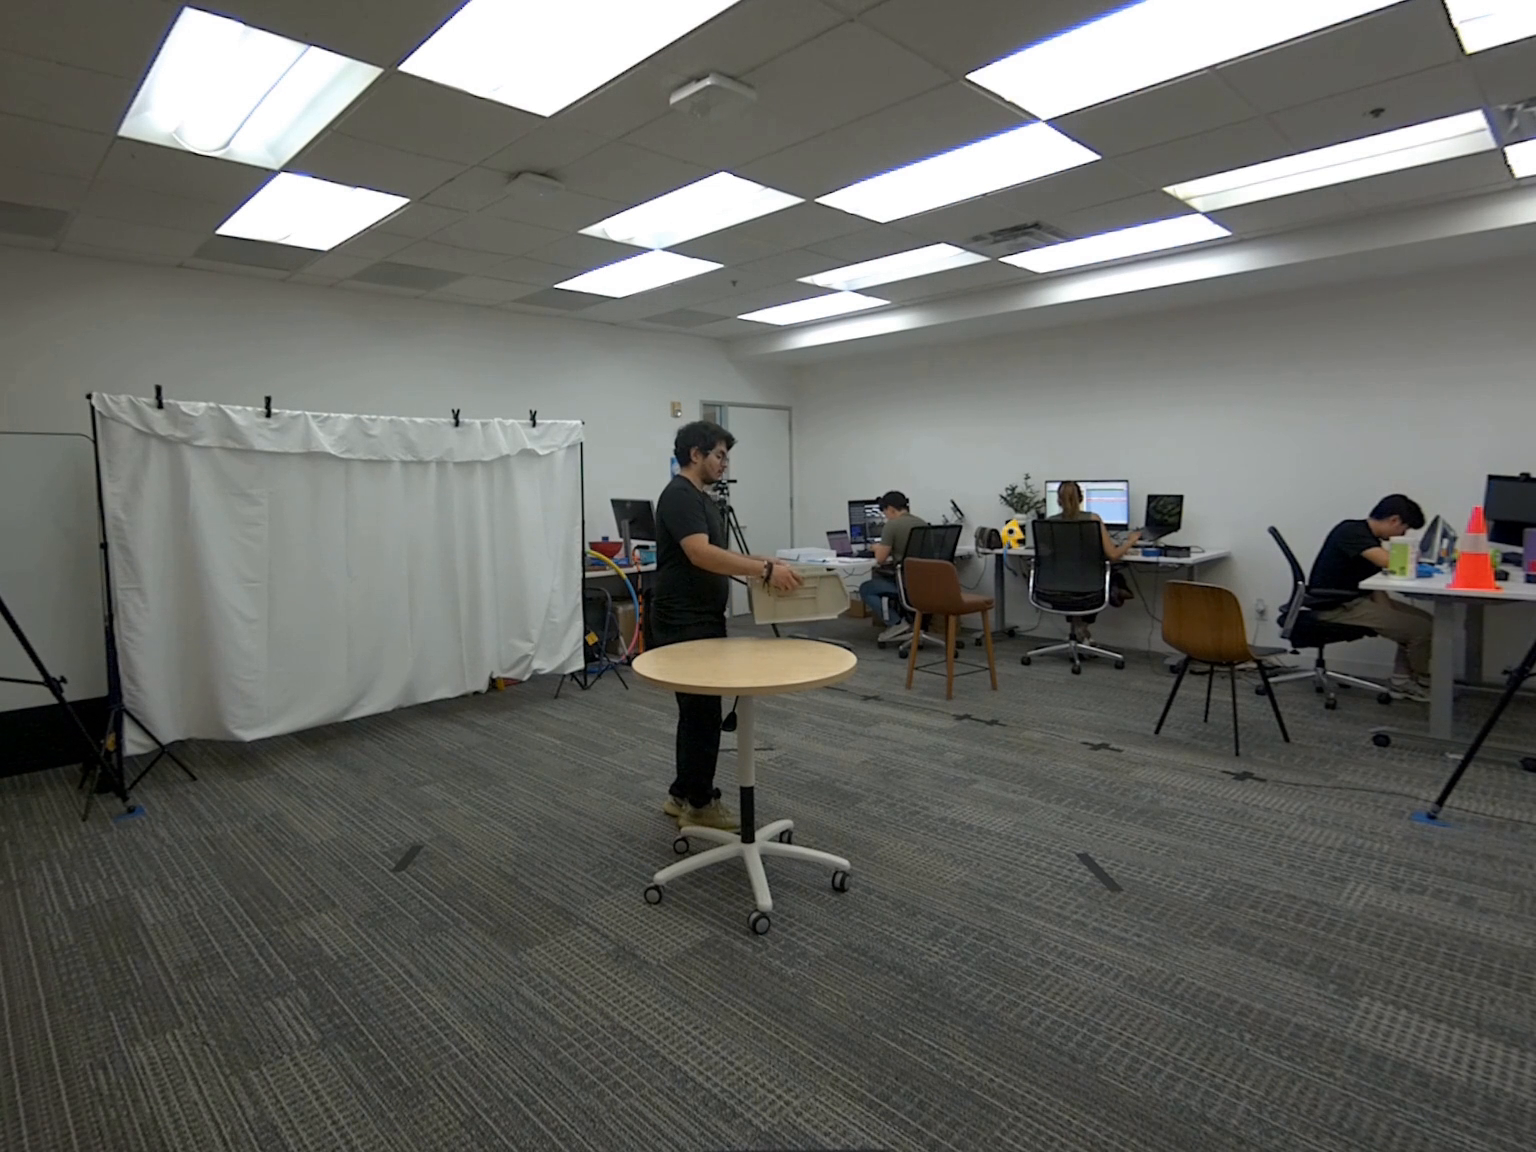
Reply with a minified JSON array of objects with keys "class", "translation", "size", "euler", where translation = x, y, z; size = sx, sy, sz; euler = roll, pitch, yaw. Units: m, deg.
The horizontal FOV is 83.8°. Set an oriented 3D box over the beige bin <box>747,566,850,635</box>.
[{"class":"beige bin","translation":[0.110,0.072,3.426],"size":[0.376,0.188,0.425],"euler":[-6,5,-4]}]
